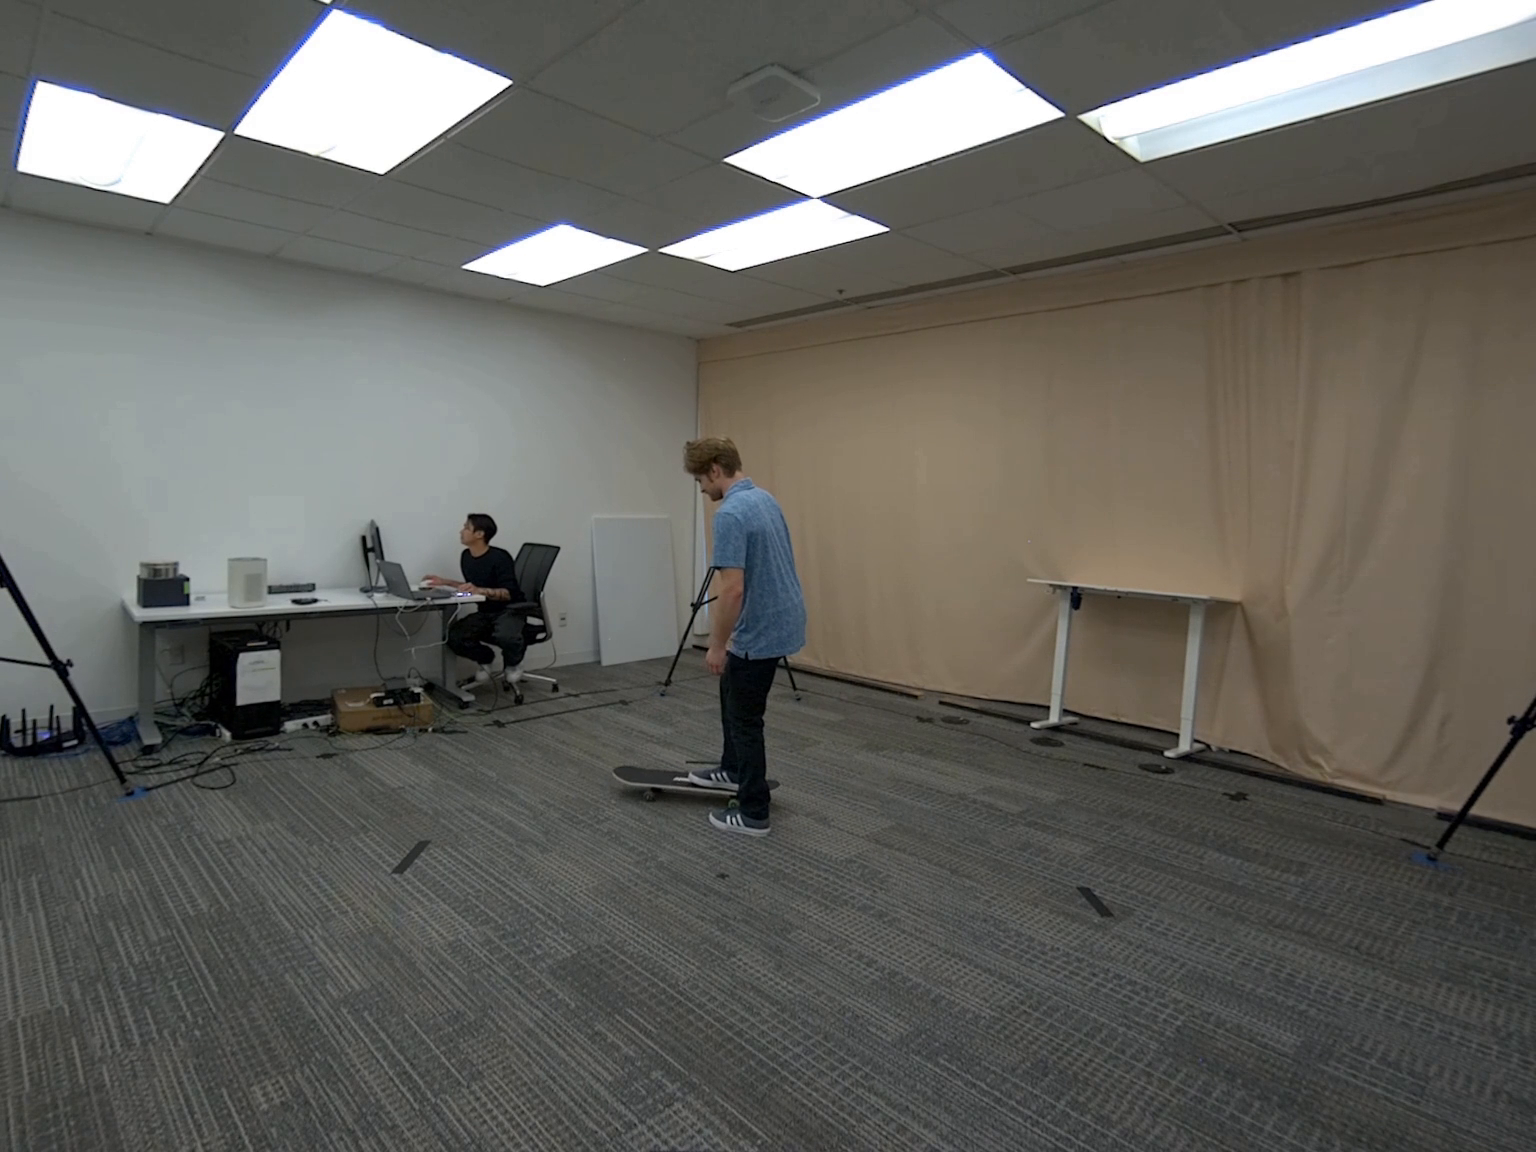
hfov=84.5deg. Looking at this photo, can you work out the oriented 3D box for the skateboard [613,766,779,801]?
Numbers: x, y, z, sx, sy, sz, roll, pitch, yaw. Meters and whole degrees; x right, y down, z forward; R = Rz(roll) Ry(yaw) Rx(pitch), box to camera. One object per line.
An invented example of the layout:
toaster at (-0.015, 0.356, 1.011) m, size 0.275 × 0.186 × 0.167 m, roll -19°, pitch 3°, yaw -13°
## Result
skateboard at (-0.348, 0.971, 3.883) m, size 0.793 × 0.110 × 0.192 m, roll 3°, pitch 6°, yaw 12°
